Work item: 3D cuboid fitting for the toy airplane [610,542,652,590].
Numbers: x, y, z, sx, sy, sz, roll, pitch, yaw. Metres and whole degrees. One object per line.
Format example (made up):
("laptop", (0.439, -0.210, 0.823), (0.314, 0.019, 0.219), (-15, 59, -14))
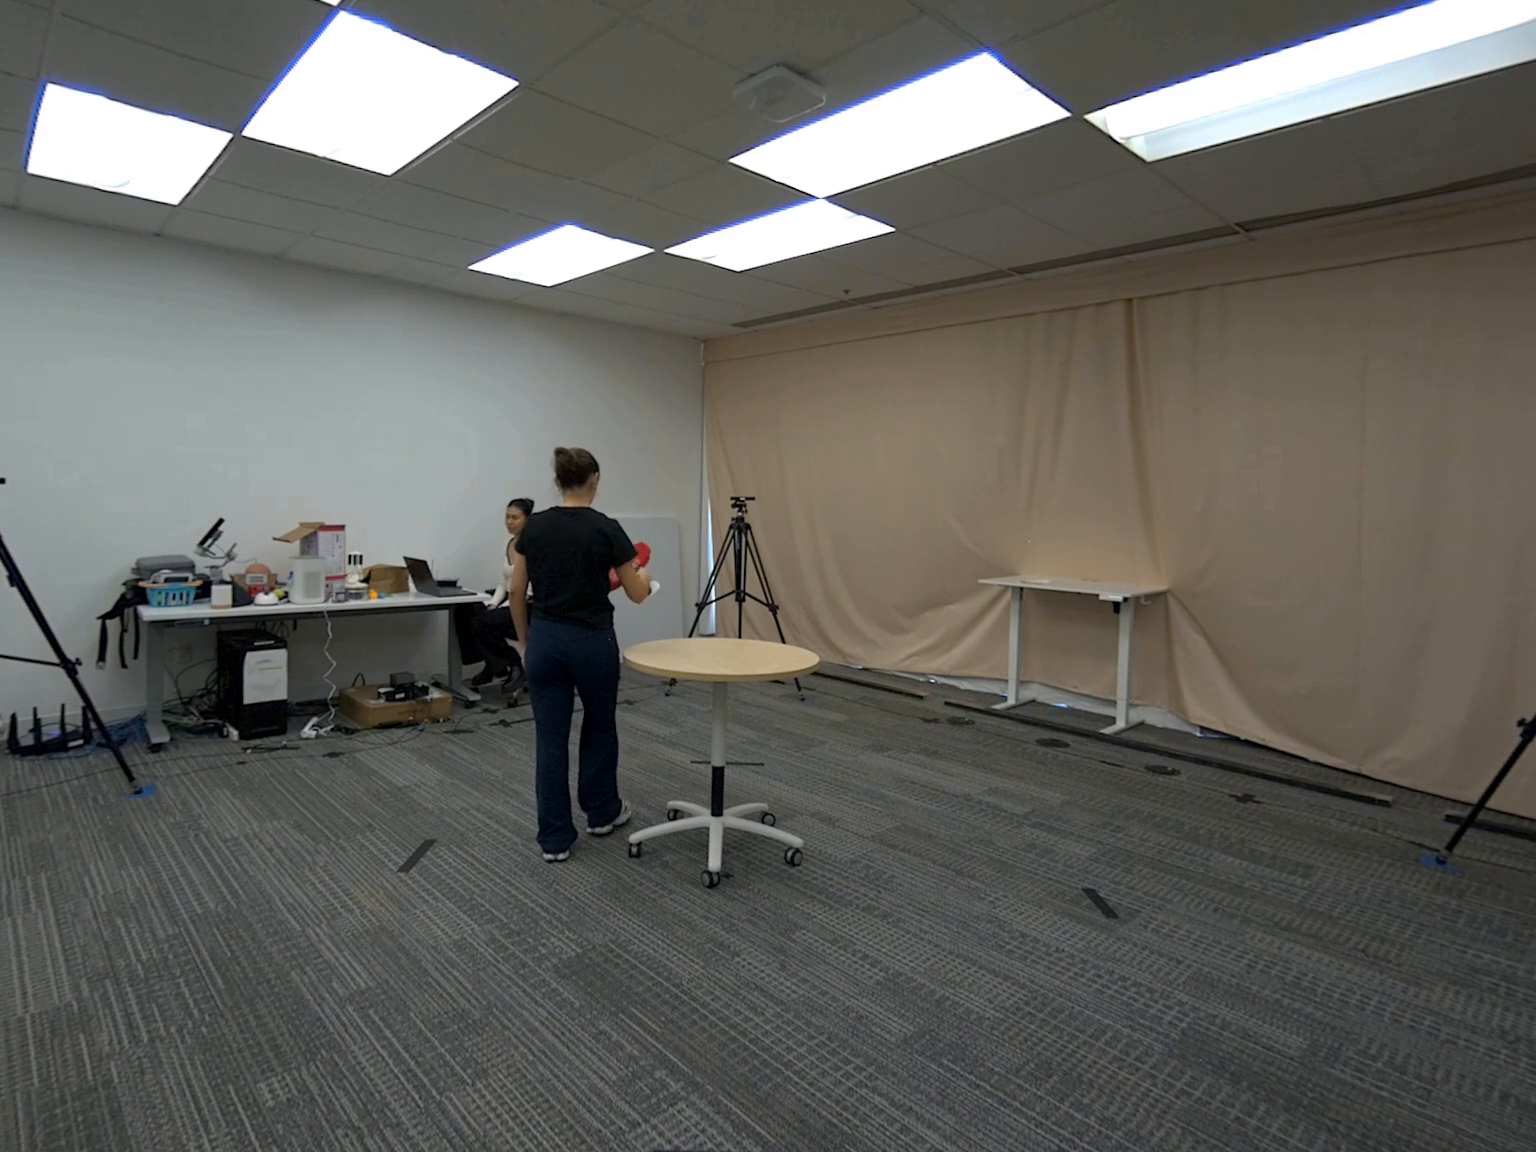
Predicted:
("toy airplane", (-0.574, -0.027, 3.631), (0.262, 0.254, 0.153), (14, -32, 10))
